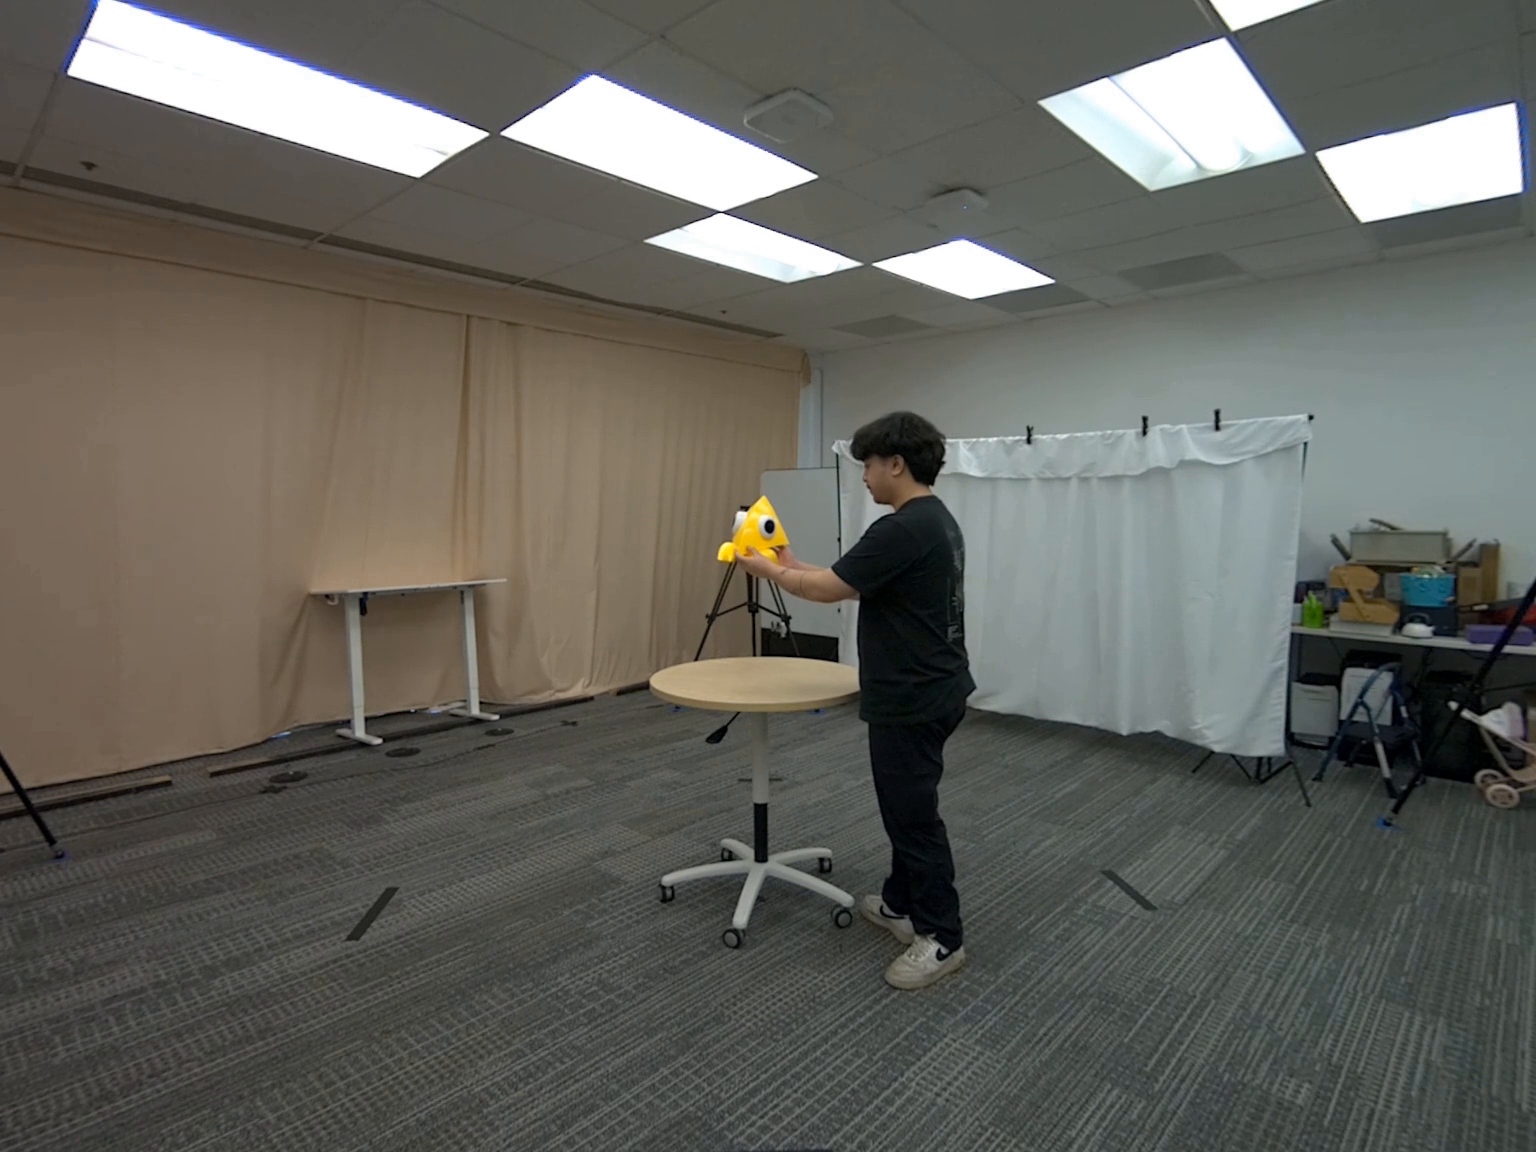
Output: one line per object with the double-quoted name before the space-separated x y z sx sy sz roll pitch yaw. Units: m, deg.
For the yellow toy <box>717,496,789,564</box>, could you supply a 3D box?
"yellow toy" -0.040 -0.157 2.827 0.210 0.230 0.189 9 4 21
